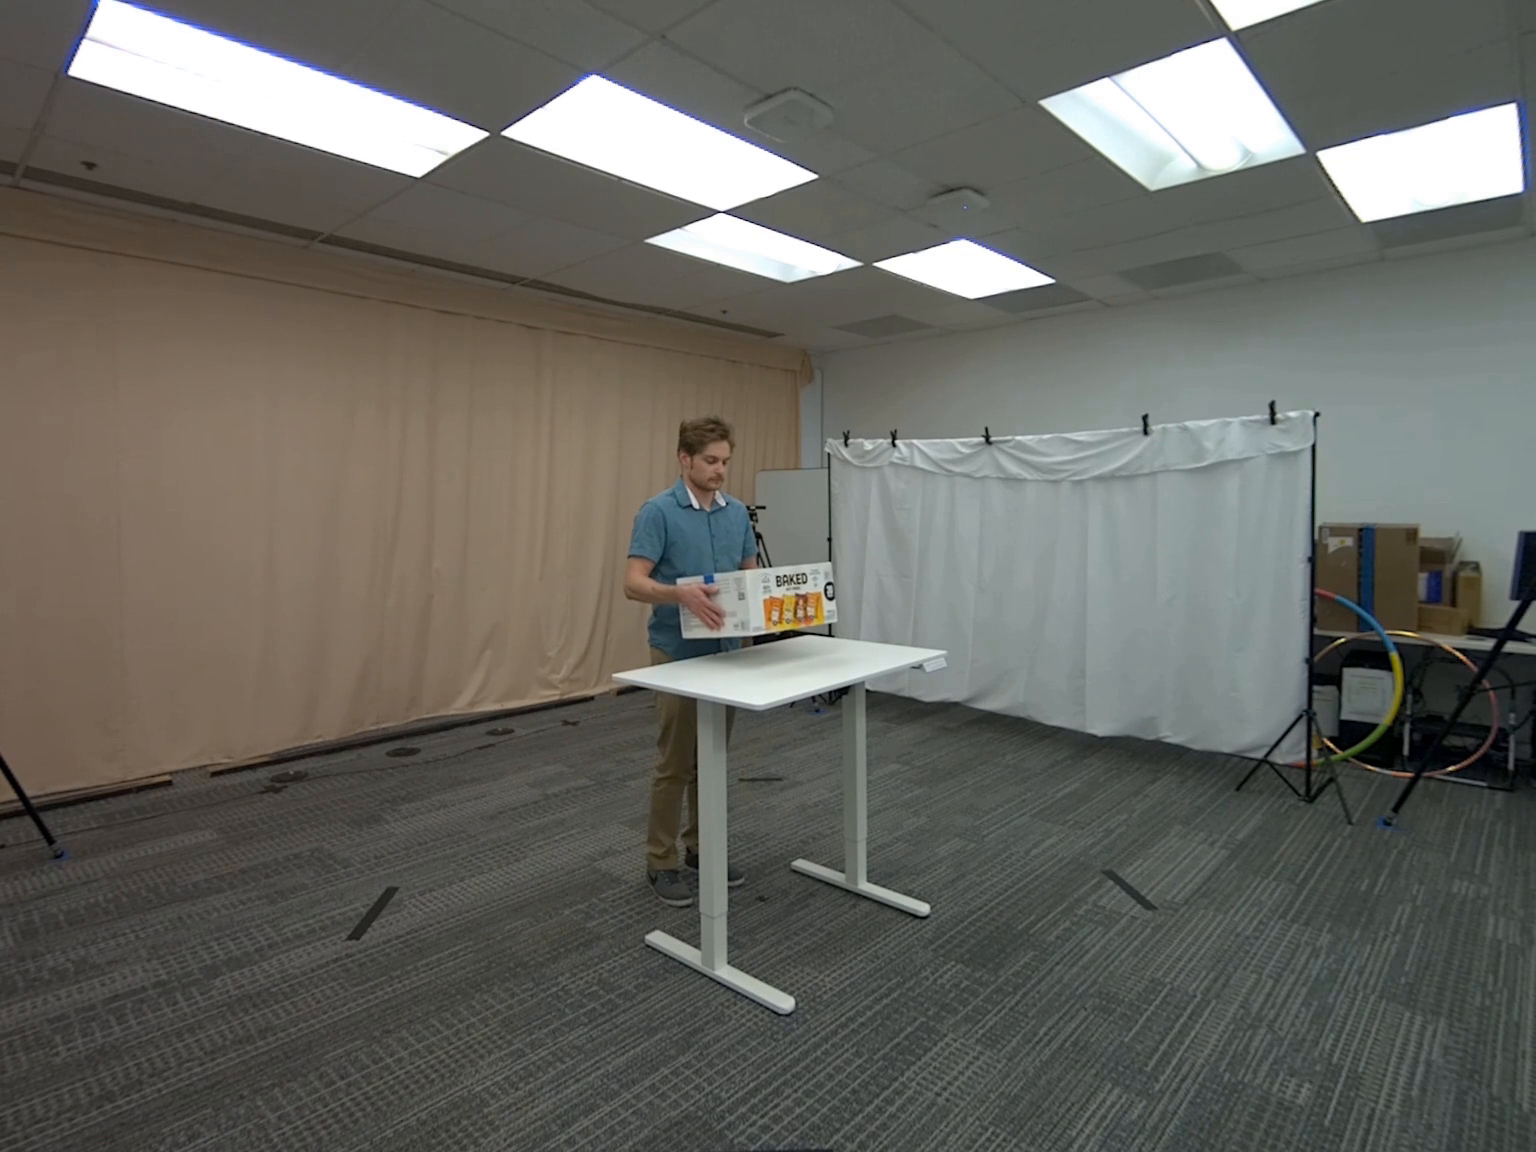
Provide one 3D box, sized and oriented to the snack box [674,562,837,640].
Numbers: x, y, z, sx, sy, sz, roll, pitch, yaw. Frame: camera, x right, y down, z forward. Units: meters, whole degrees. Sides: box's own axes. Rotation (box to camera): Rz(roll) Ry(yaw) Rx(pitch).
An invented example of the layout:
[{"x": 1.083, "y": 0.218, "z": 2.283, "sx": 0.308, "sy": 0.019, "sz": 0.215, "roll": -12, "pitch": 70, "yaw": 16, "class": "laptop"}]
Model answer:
[{"x": -0.027, "y": 0.083, "z": 2.814, "sx": 0.393, "sy": 0.206, "sz": 0.350, "roll": -5, "pitch": -2, "yaw": -44, "class": "snack box"}]
